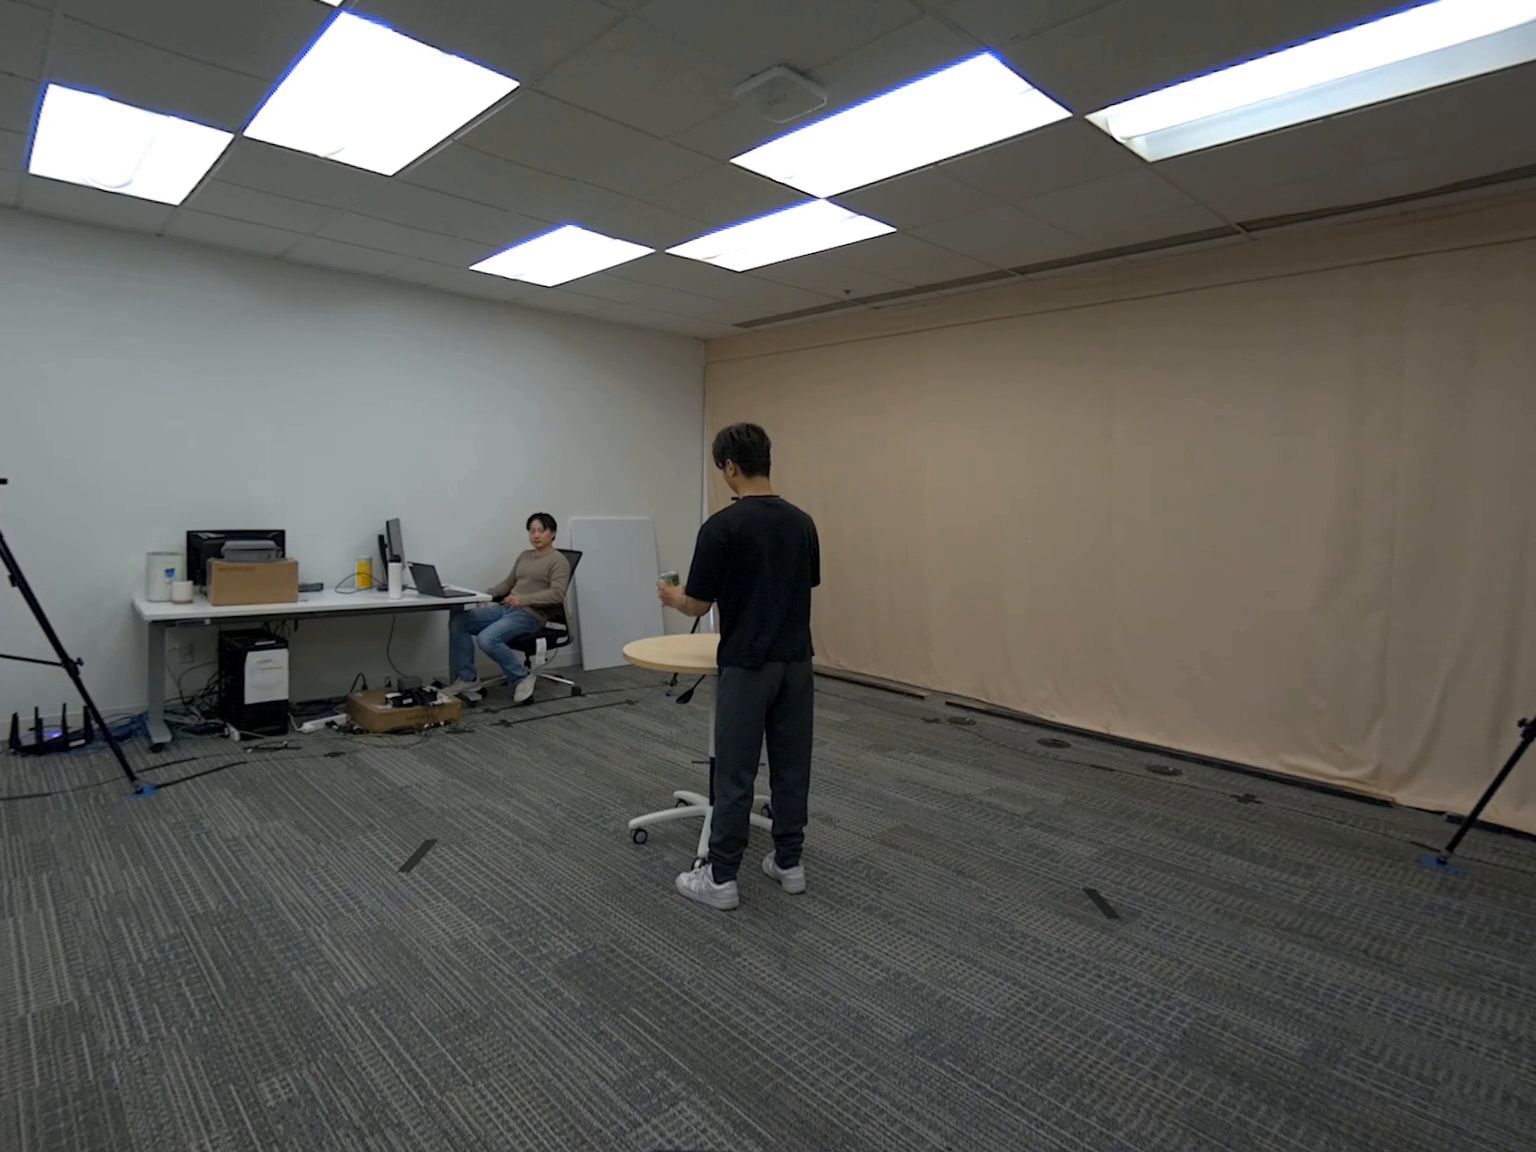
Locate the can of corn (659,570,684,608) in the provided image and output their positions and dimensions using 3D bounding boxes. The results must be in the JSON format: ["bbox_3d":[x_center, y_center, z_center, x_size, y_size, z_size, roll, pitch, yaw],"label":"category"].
[{"bbox_3d":[-0.357,0.045,3.168,0.074,0.110,0.075,-11,13,1],"label":"can of corn"}]
